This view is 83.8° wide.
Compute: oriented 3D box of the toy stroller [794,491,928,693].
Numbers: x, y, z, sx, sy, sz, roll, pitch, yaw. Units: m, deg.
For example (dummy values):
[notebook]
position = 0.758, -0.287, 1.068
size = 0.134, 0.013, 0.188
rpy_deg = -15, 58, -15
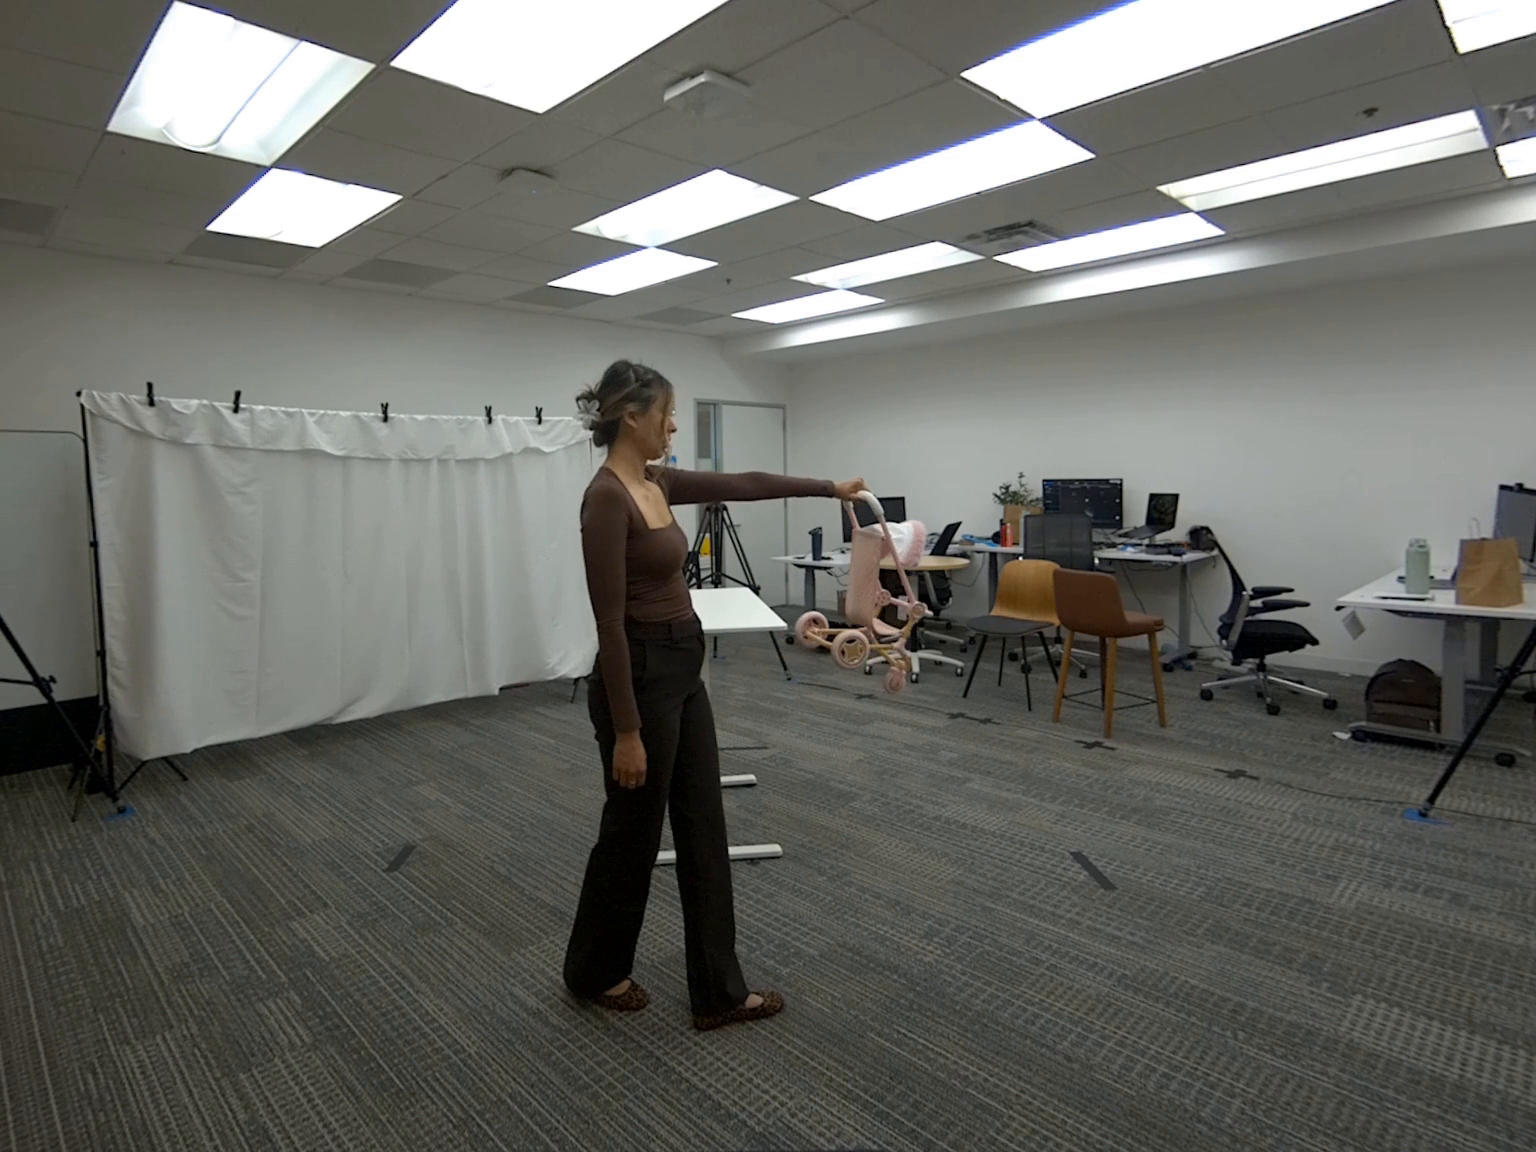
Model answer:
[toy stroller]
position = 0.337, 0.054, 2.452
size = 0.335, 0.535, 0.287
rpy_deg = 15, 1, -17
